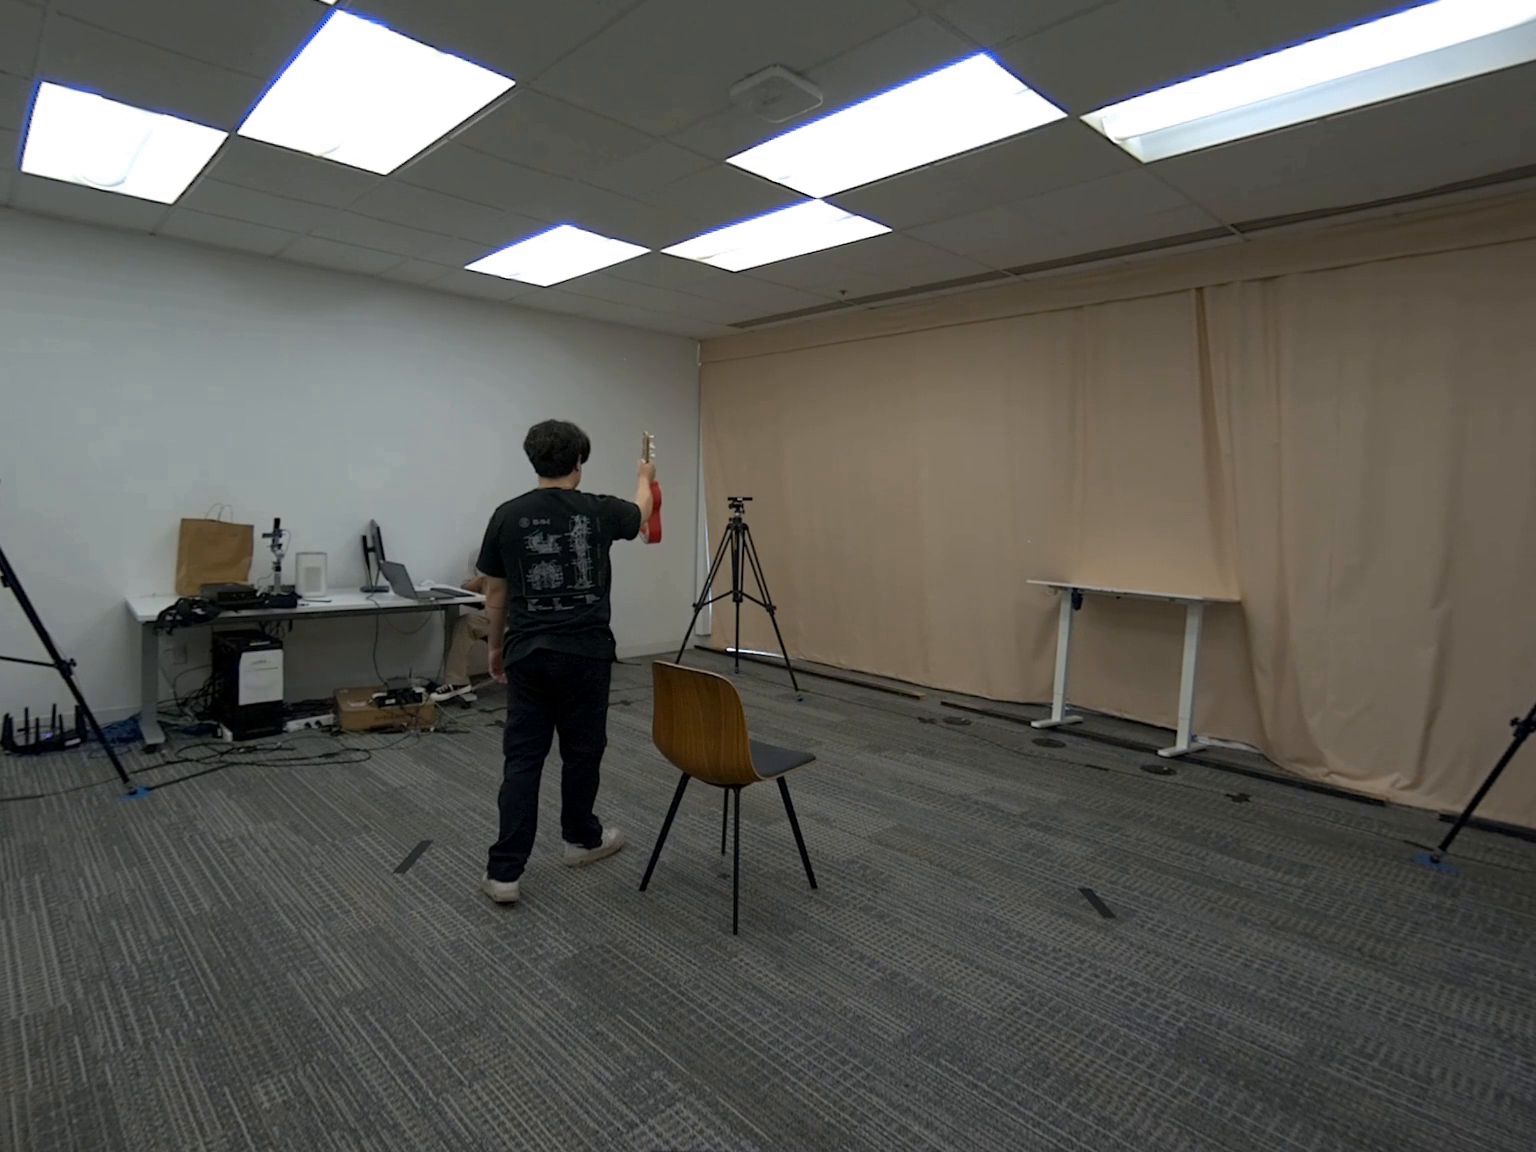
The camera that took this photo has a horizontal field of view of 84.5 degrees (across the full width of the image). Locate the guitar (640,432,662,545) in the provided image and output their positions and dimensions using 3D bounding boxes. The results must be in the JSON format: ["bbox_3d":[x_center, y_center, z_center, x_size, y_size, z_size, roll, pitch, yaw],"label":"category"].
[{"bbox_3d":[-0.507,-0.362,3.581,0.070,0.489,0.199,-4,38,-20],"label":"guitar"}]
